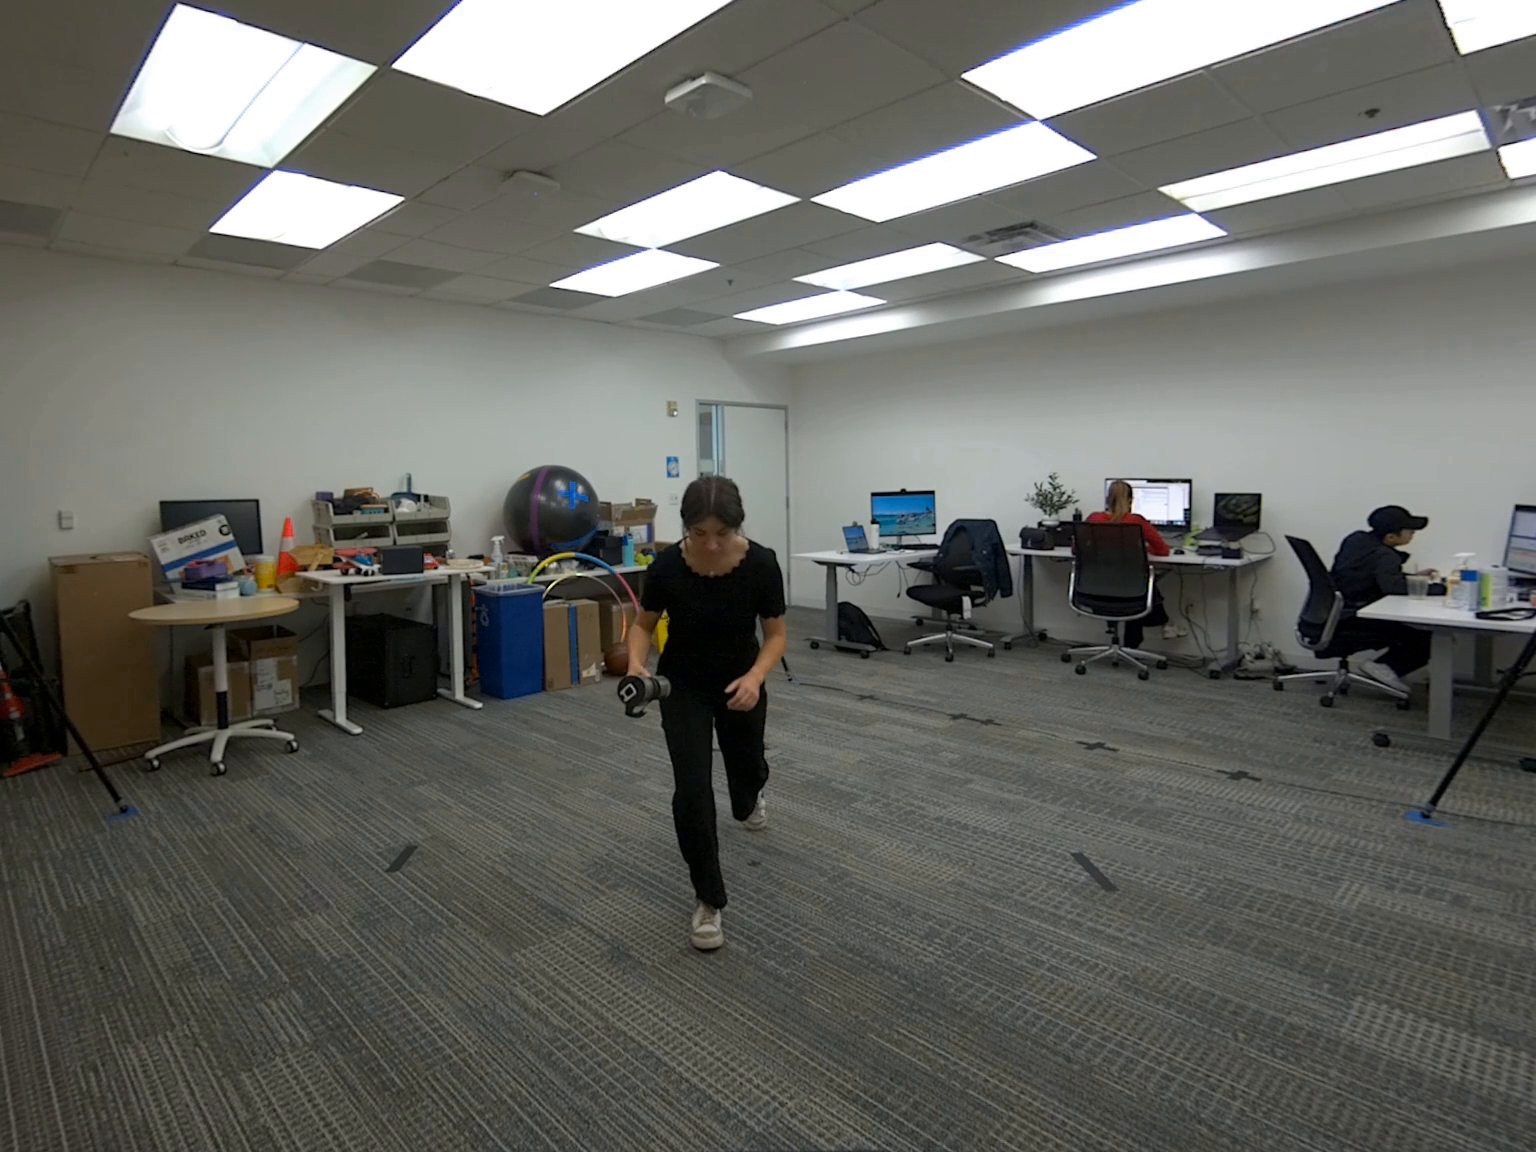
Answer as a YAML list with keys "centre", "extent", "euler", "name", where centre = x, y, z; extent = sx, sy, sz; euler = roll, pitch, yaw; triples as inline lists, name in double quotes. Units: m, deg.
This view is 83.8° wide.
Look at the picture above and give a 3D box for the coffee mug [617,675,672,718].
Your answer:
- centre: [-0.361, 0.359, 2.522]
  extent: [0.089, 0.123, 0.199]
  euler: [1, -9, 12]
  name: "coffee mug"
